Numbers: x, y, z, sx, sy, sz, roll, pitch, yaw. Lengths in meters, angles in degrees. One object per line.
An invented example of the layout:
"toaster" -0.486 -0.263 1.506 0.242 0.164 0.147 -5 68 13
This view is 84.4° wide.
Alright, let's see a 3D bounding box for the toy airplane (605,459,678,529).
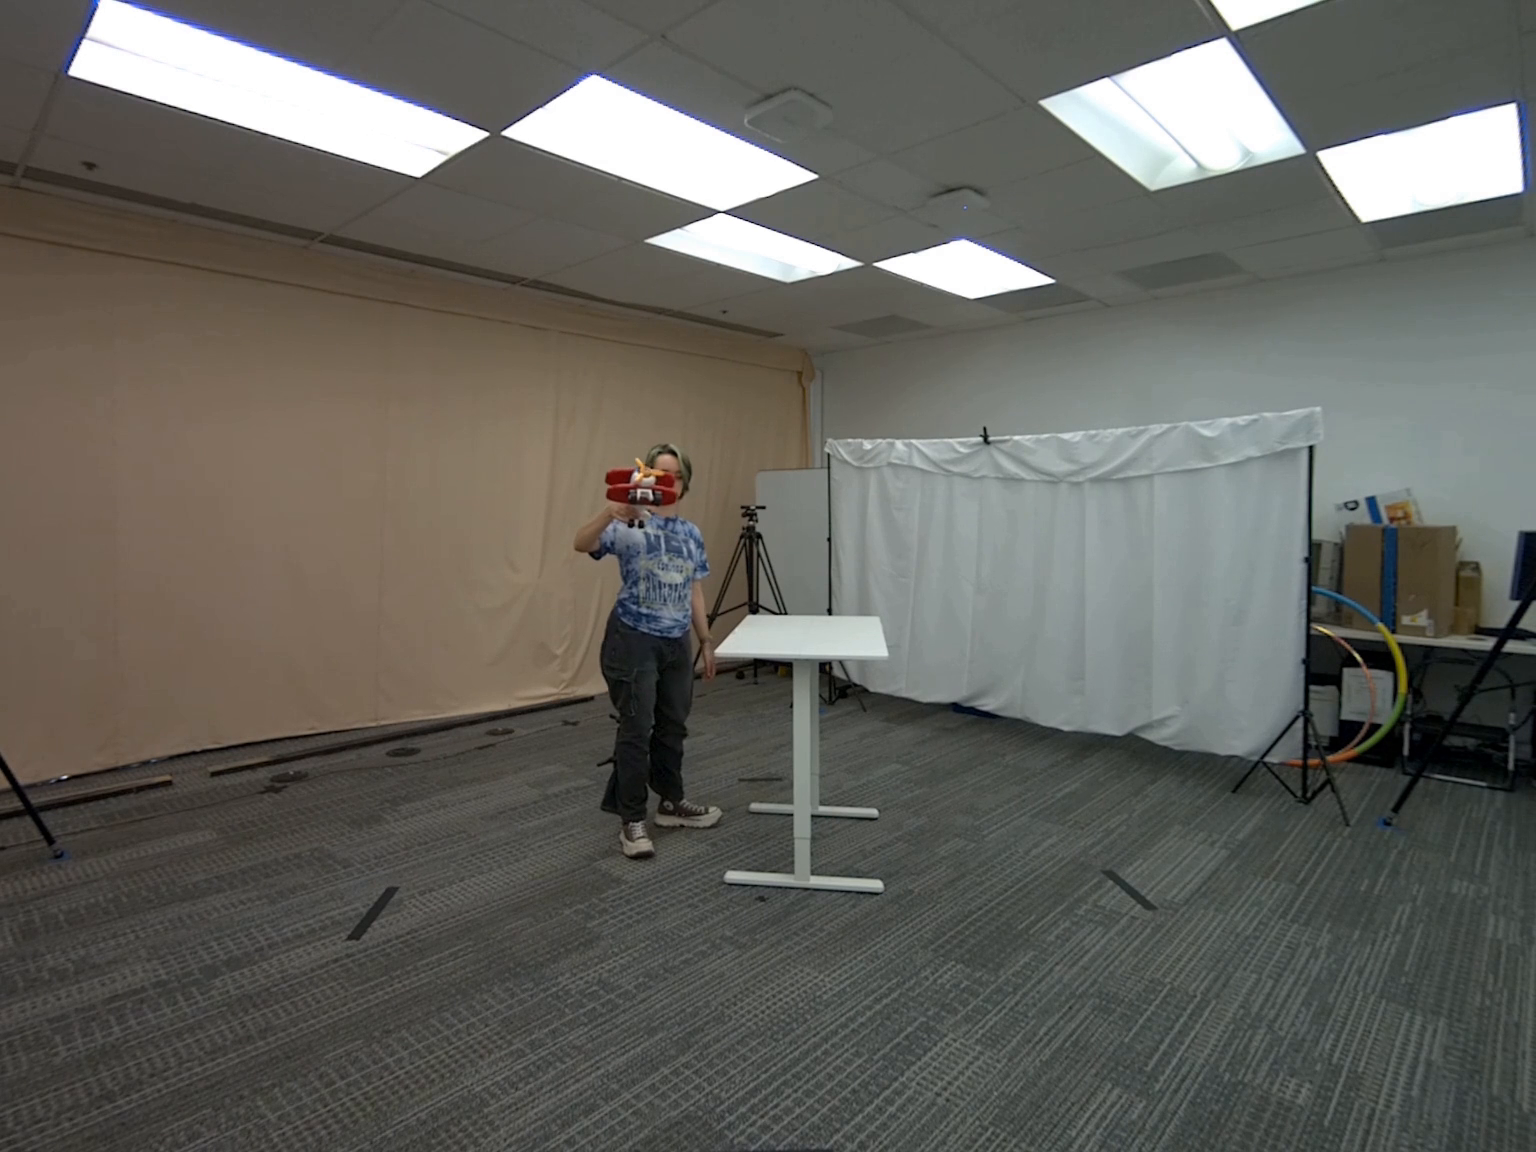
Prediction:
"toy airplane" -0.477 -0.283 3.028 0.242 0.159 0.264 17 -33 -40
